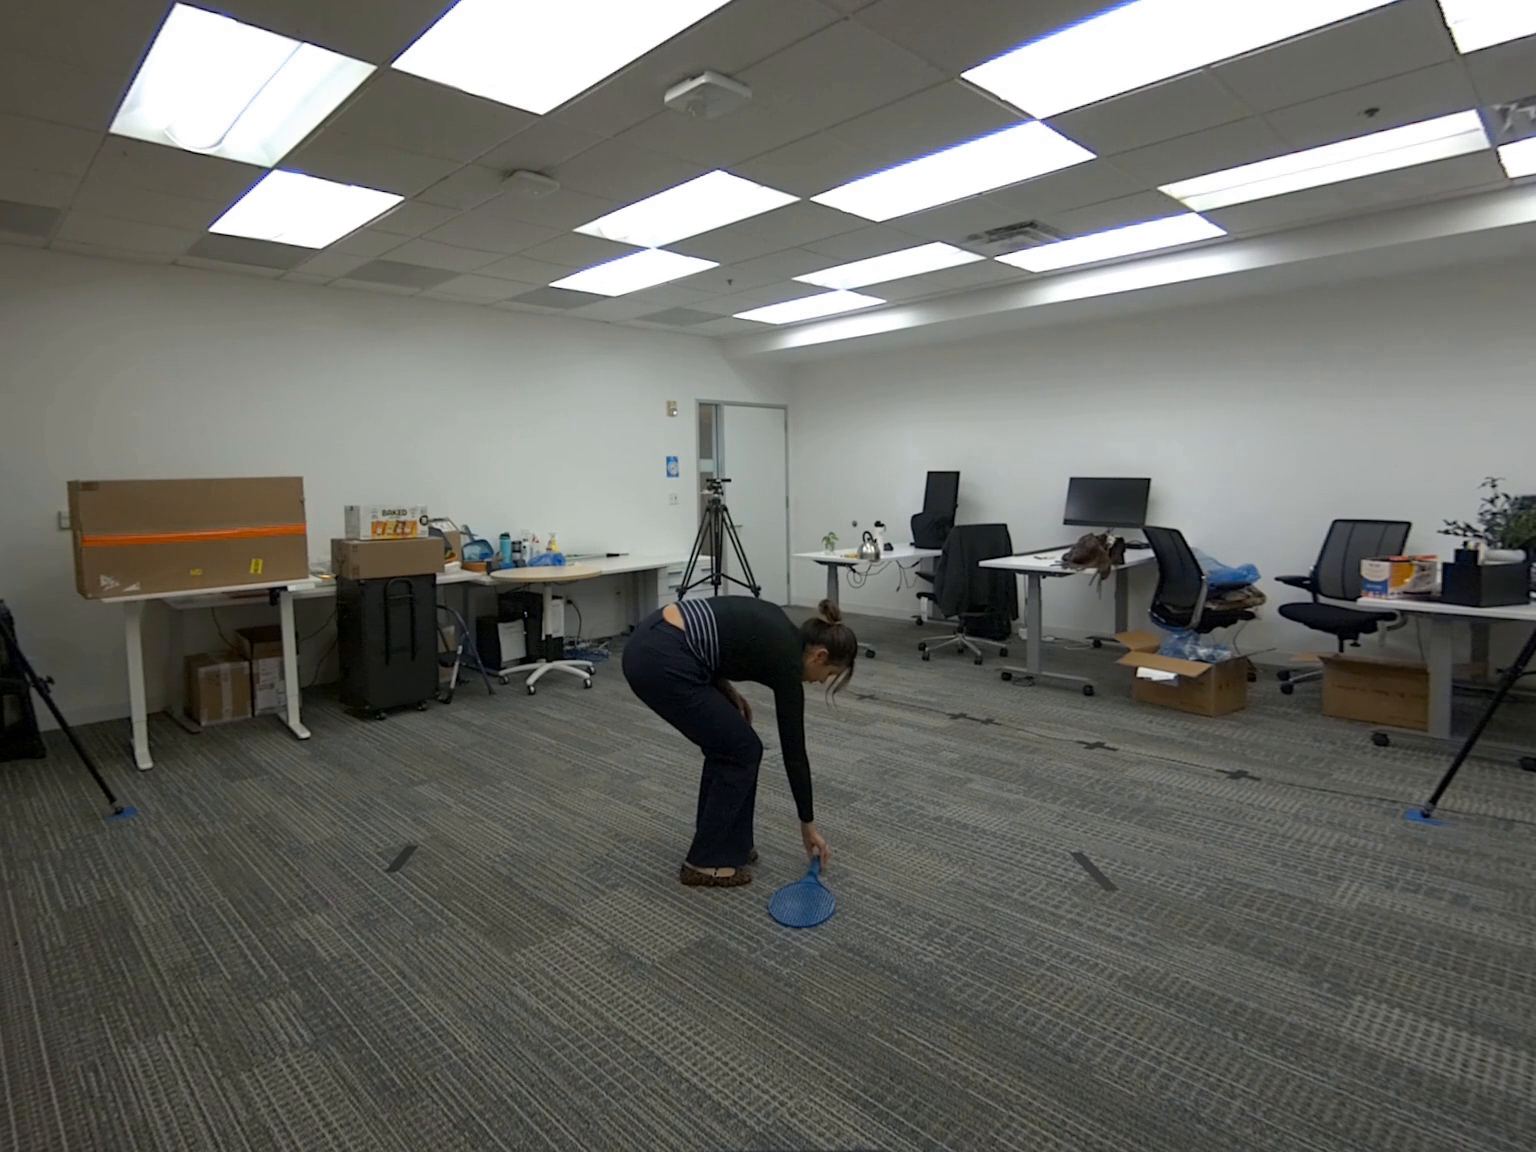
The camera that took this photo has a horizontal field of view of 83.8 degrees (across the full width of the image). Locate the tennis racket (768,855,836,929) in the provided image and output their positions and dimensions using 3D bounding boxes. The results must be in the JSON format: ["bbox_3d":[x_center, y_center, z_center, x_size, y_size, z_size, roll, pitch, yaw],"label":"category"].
[{"bbox_3d":[0.124,1.051,2.859,0.216,0.031,0.431,0,9,11],"label":"tennis racket"}]
